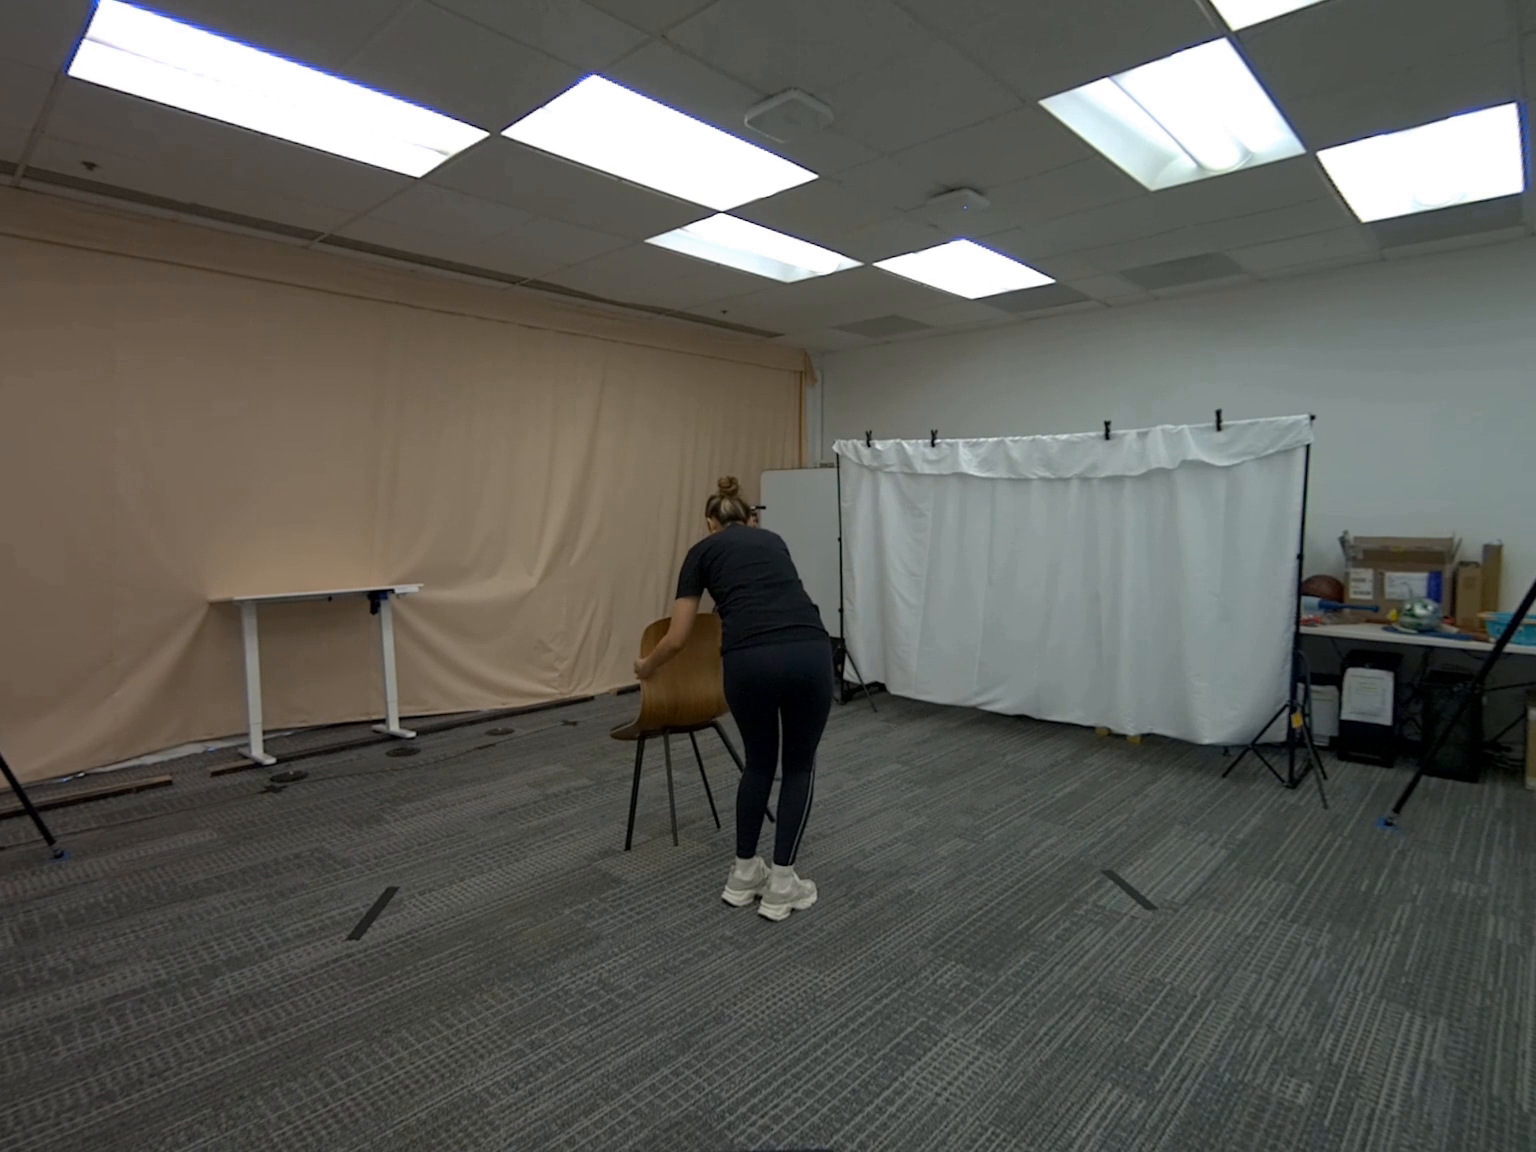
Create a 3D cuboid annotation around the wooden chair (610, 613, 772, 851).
[{"bbox_3d":[-0.367,0.629,3.447,0.465,0.885,0.533,-3,-13,-32],"label":"wooden chair"}]
